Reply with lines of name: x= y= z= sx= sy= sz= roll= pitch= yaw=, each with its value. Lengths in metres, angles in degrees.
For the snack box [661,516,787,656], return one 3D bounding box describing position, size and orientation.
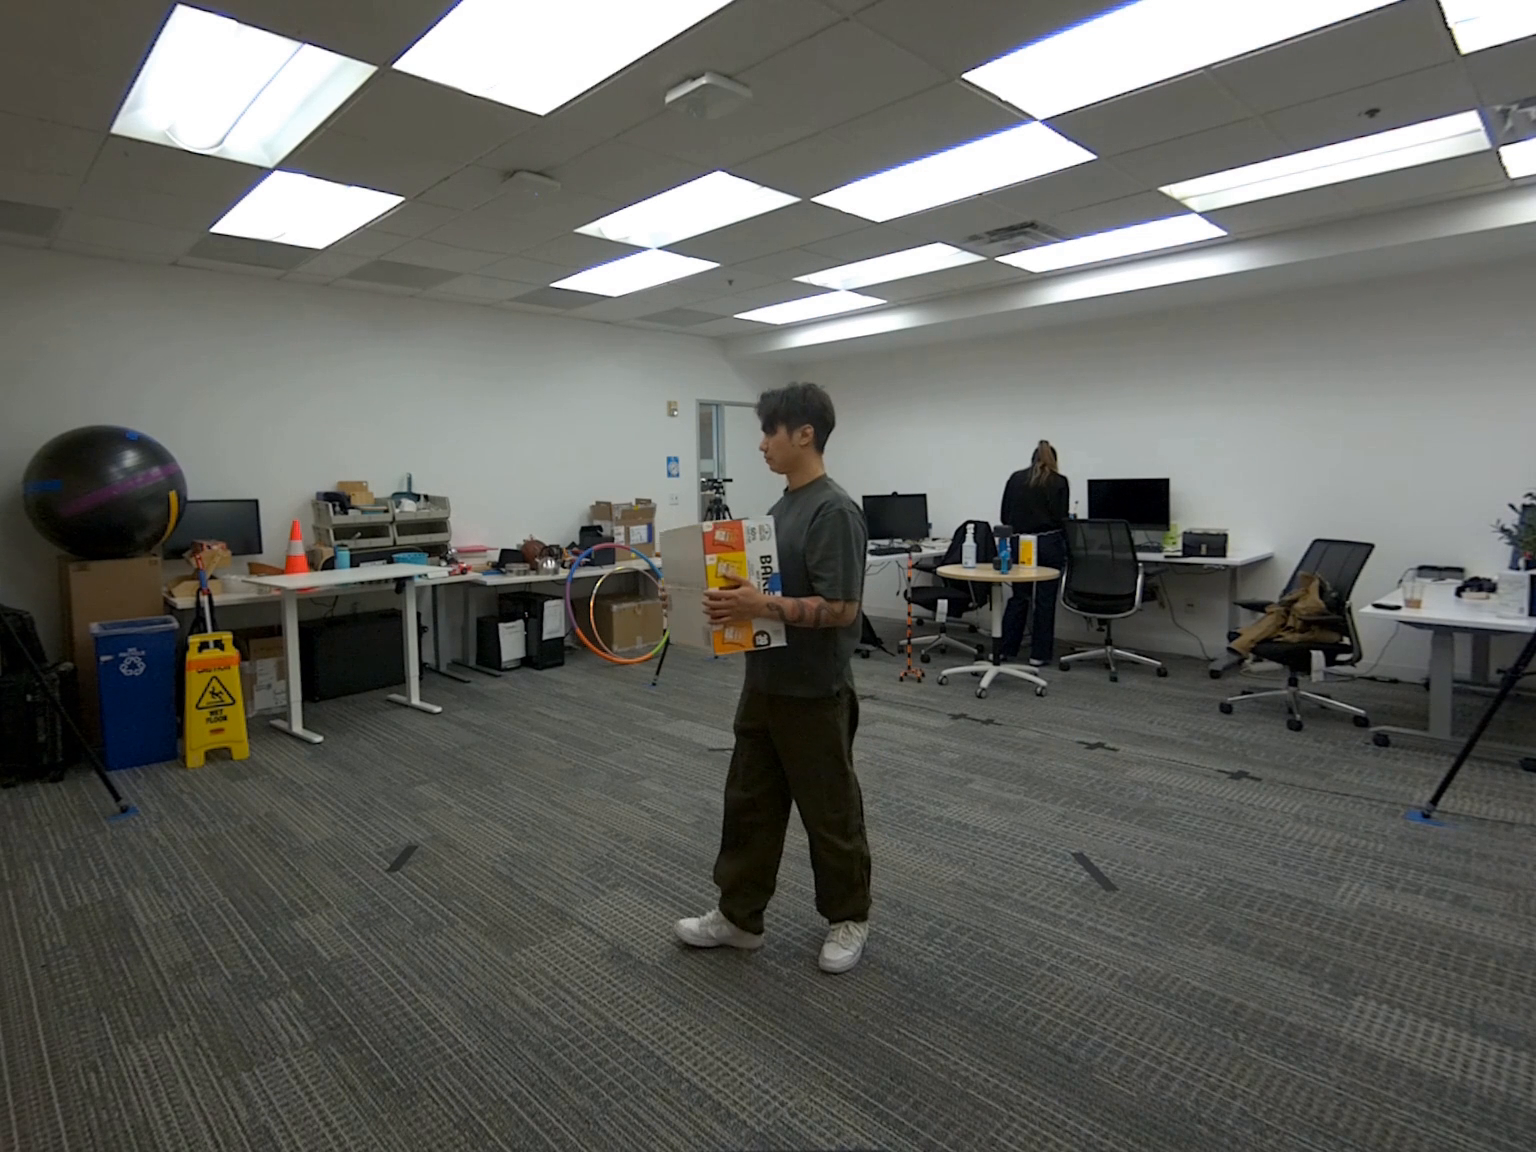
snack box: x=-0.134 y=0.018 z=2.382 sx=0.202 sy=0.341 sz=0.412 roll=-4 pitch=0 yaw=-24
